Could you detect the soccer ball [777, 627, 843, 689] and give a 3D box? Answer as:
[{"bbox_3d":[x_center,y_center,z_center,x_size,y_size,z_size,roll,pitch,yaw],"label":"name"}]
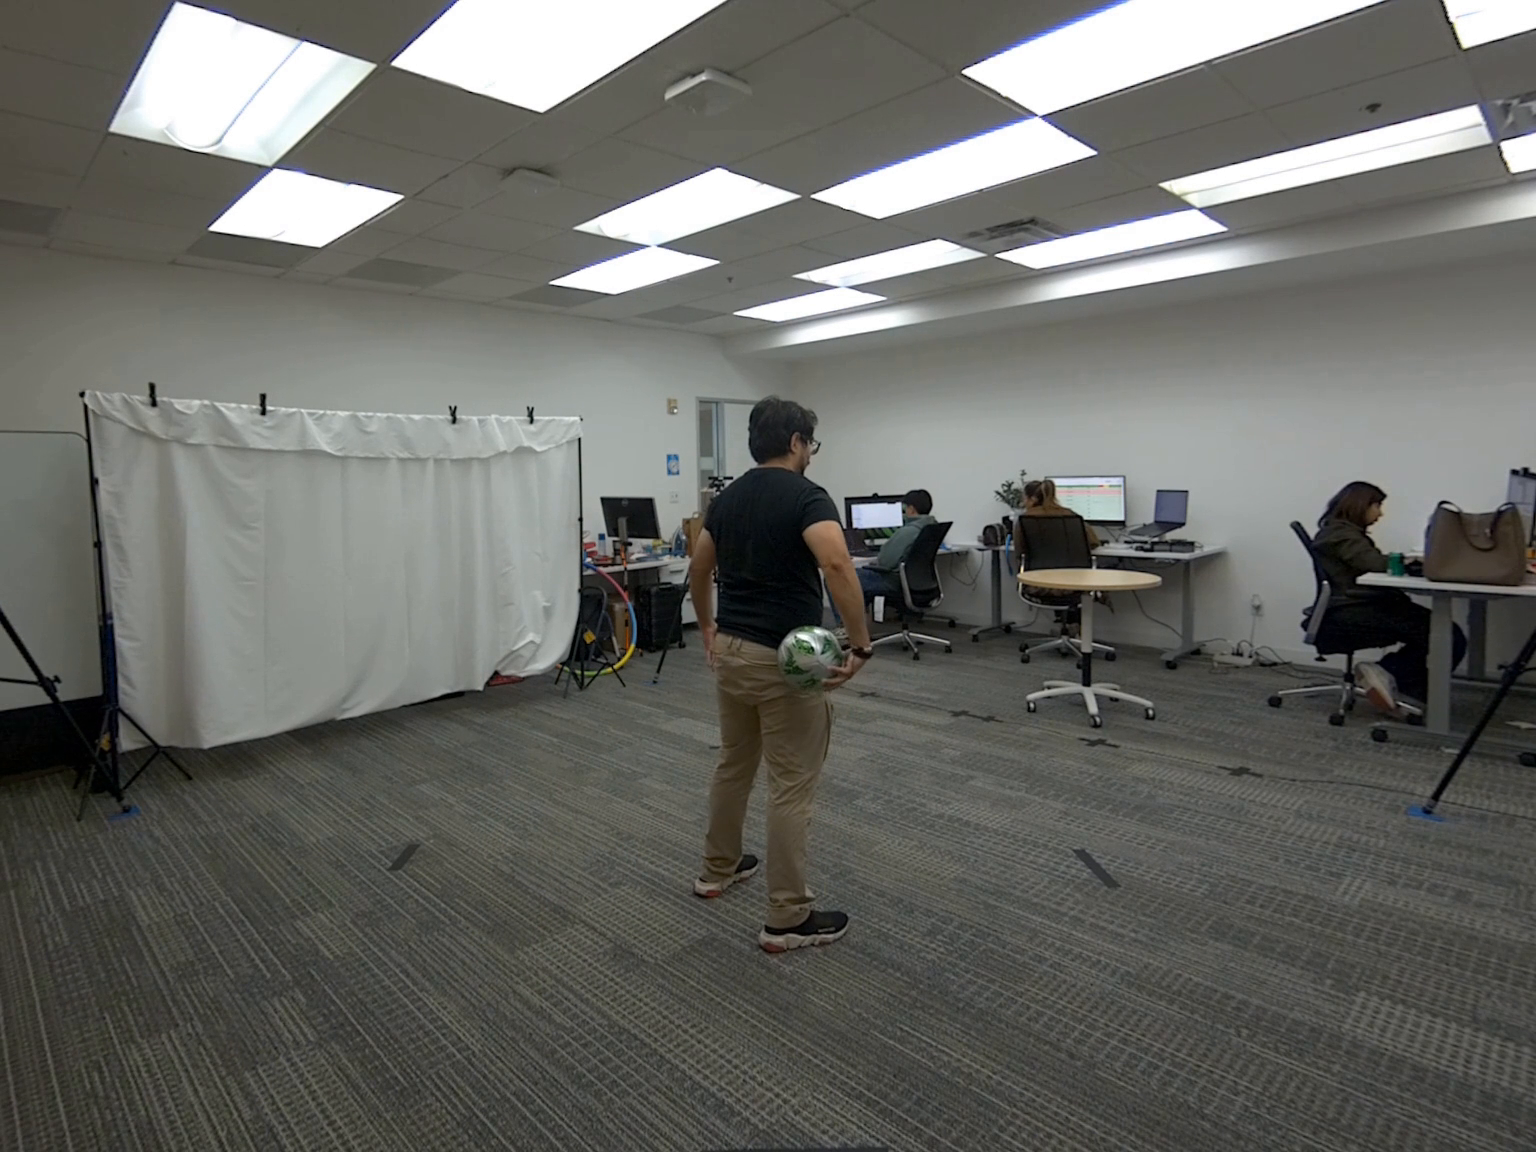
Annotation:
[{"bbox_3d":[0.123,0.238,2.439,0.187,0.187,0.188,-1,5,-2],"label":"soccer ball"}]
